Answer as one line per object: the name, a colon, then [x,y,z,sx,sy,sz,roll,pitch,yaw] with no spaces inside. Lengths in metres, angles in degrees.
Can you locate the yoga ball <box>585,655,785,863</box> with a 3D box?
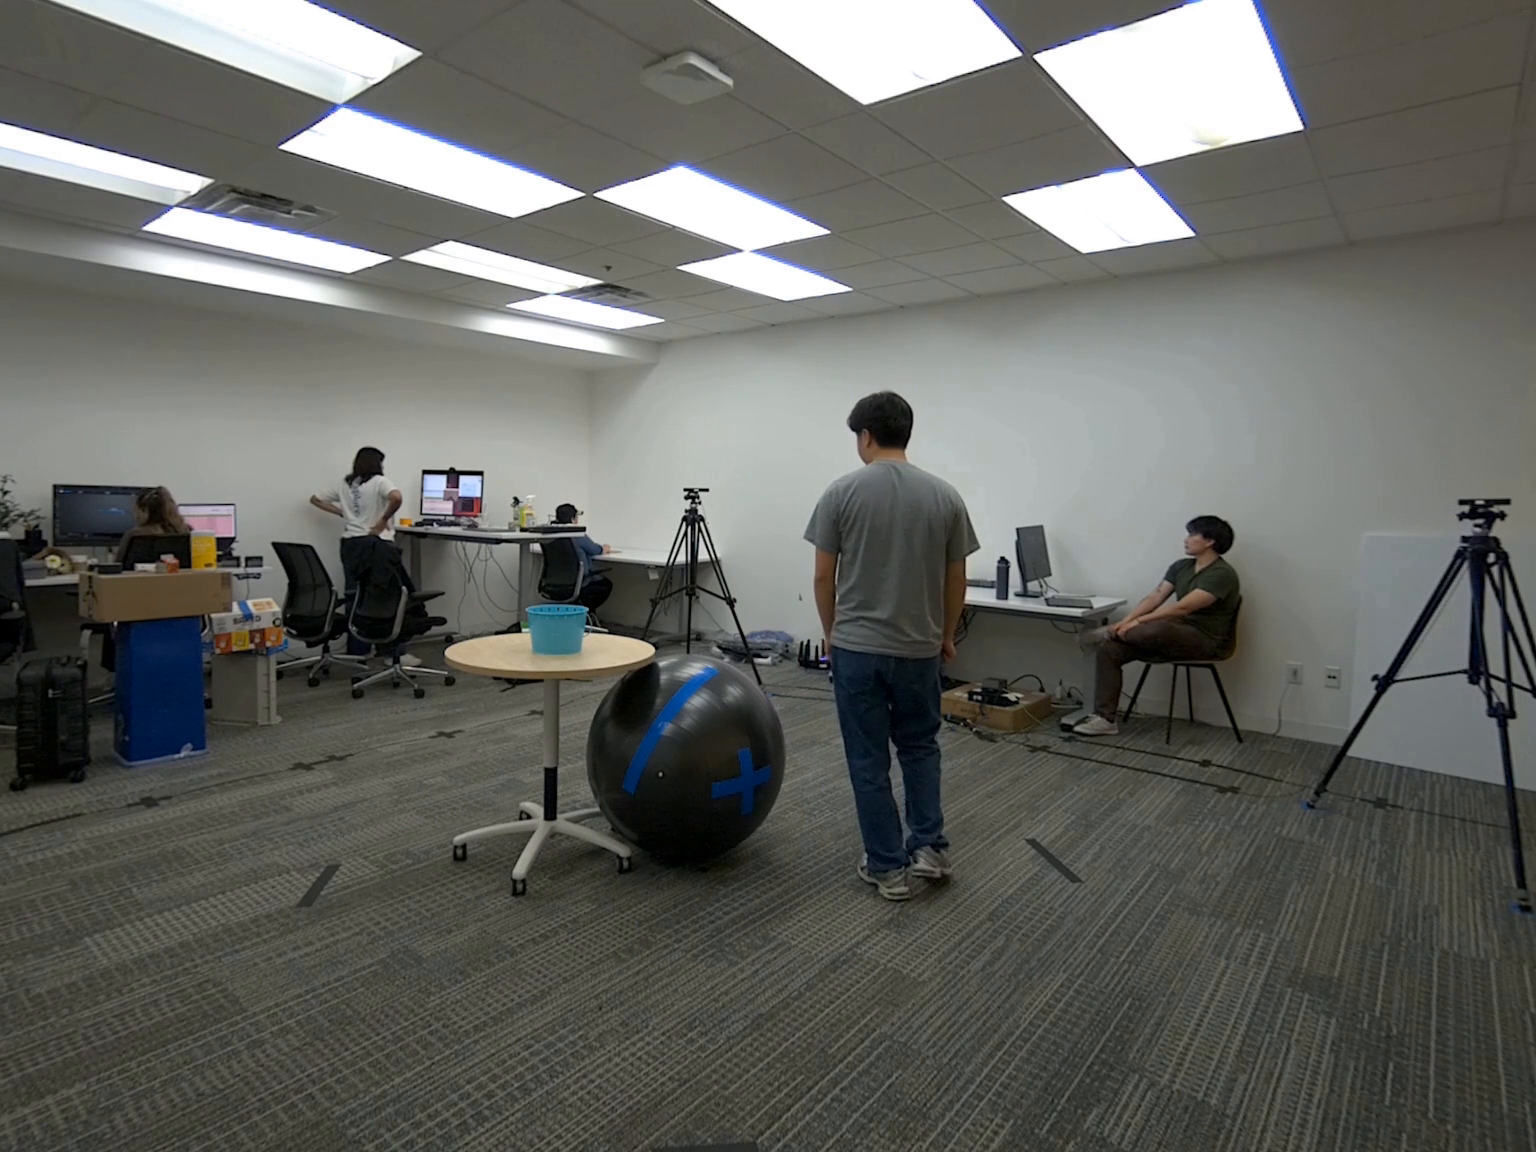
yoga ball: [-0.324,0.682,3.261,0.757,0.755,0.762,1,4,-2]
